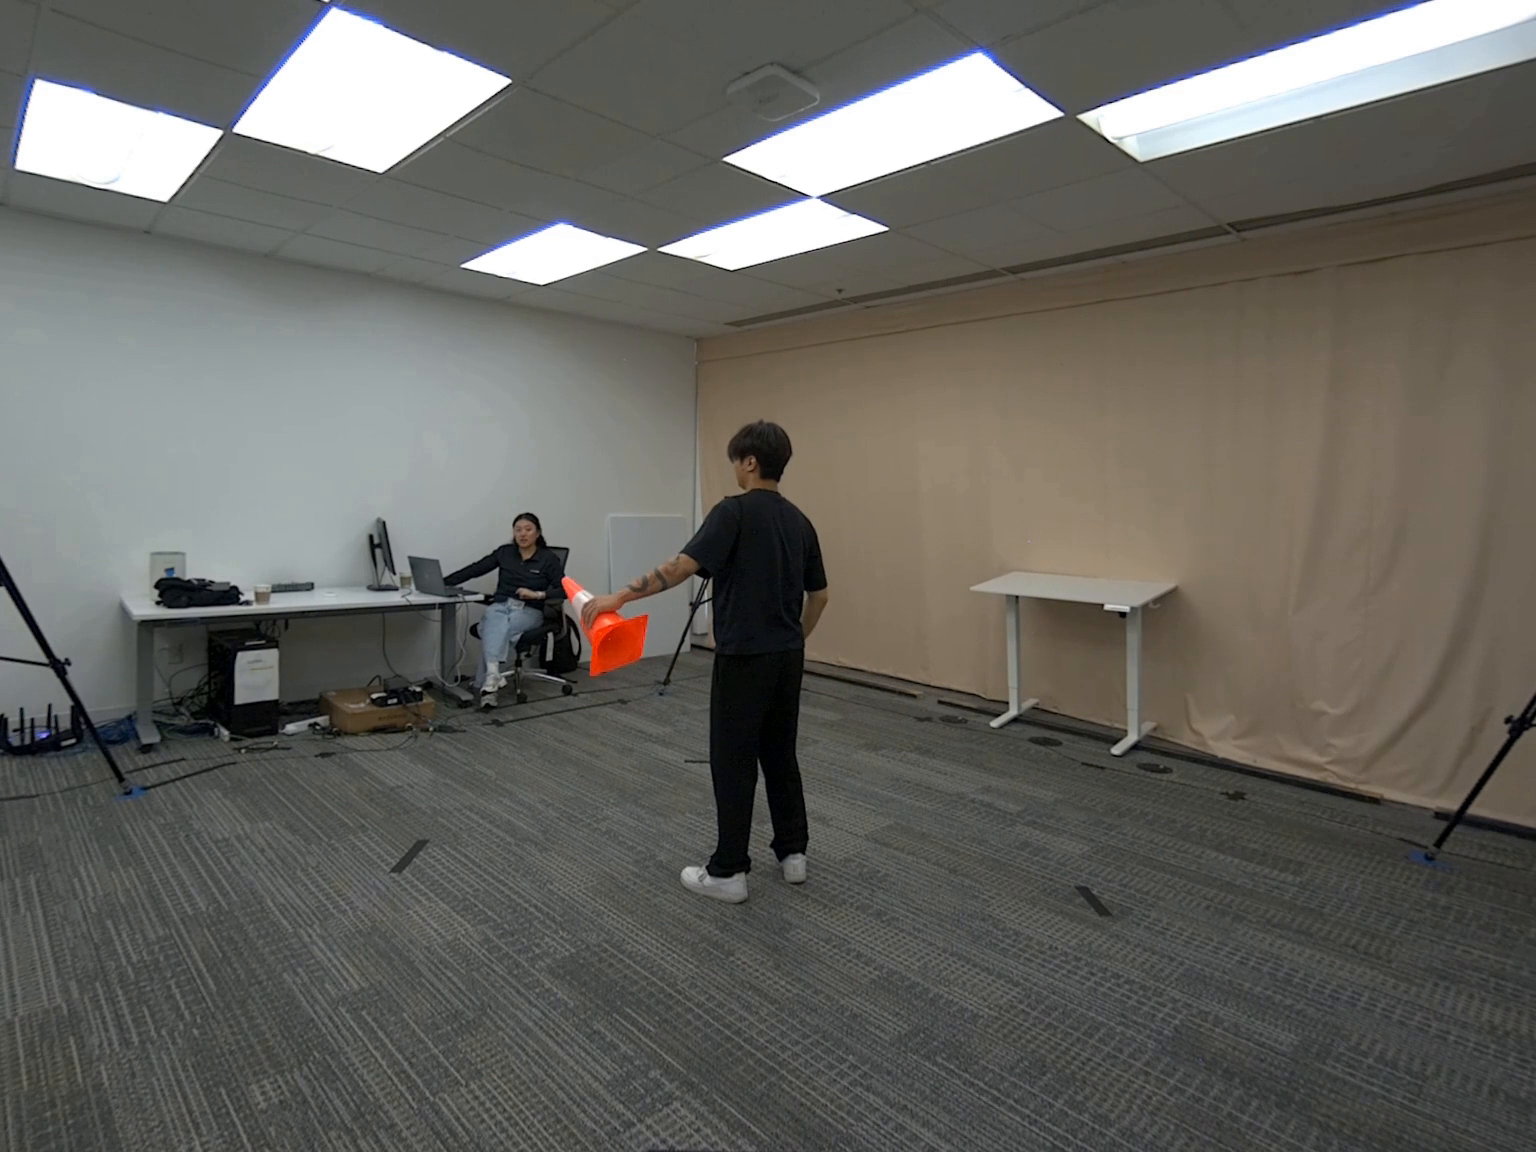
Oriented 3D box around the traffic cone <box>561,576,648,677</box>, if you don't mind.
[{"bbox_3d":[-0.598,0.123,2.808,0.202,0.200,0.396,-18,42,-37],"label":"traffic cone"}]
